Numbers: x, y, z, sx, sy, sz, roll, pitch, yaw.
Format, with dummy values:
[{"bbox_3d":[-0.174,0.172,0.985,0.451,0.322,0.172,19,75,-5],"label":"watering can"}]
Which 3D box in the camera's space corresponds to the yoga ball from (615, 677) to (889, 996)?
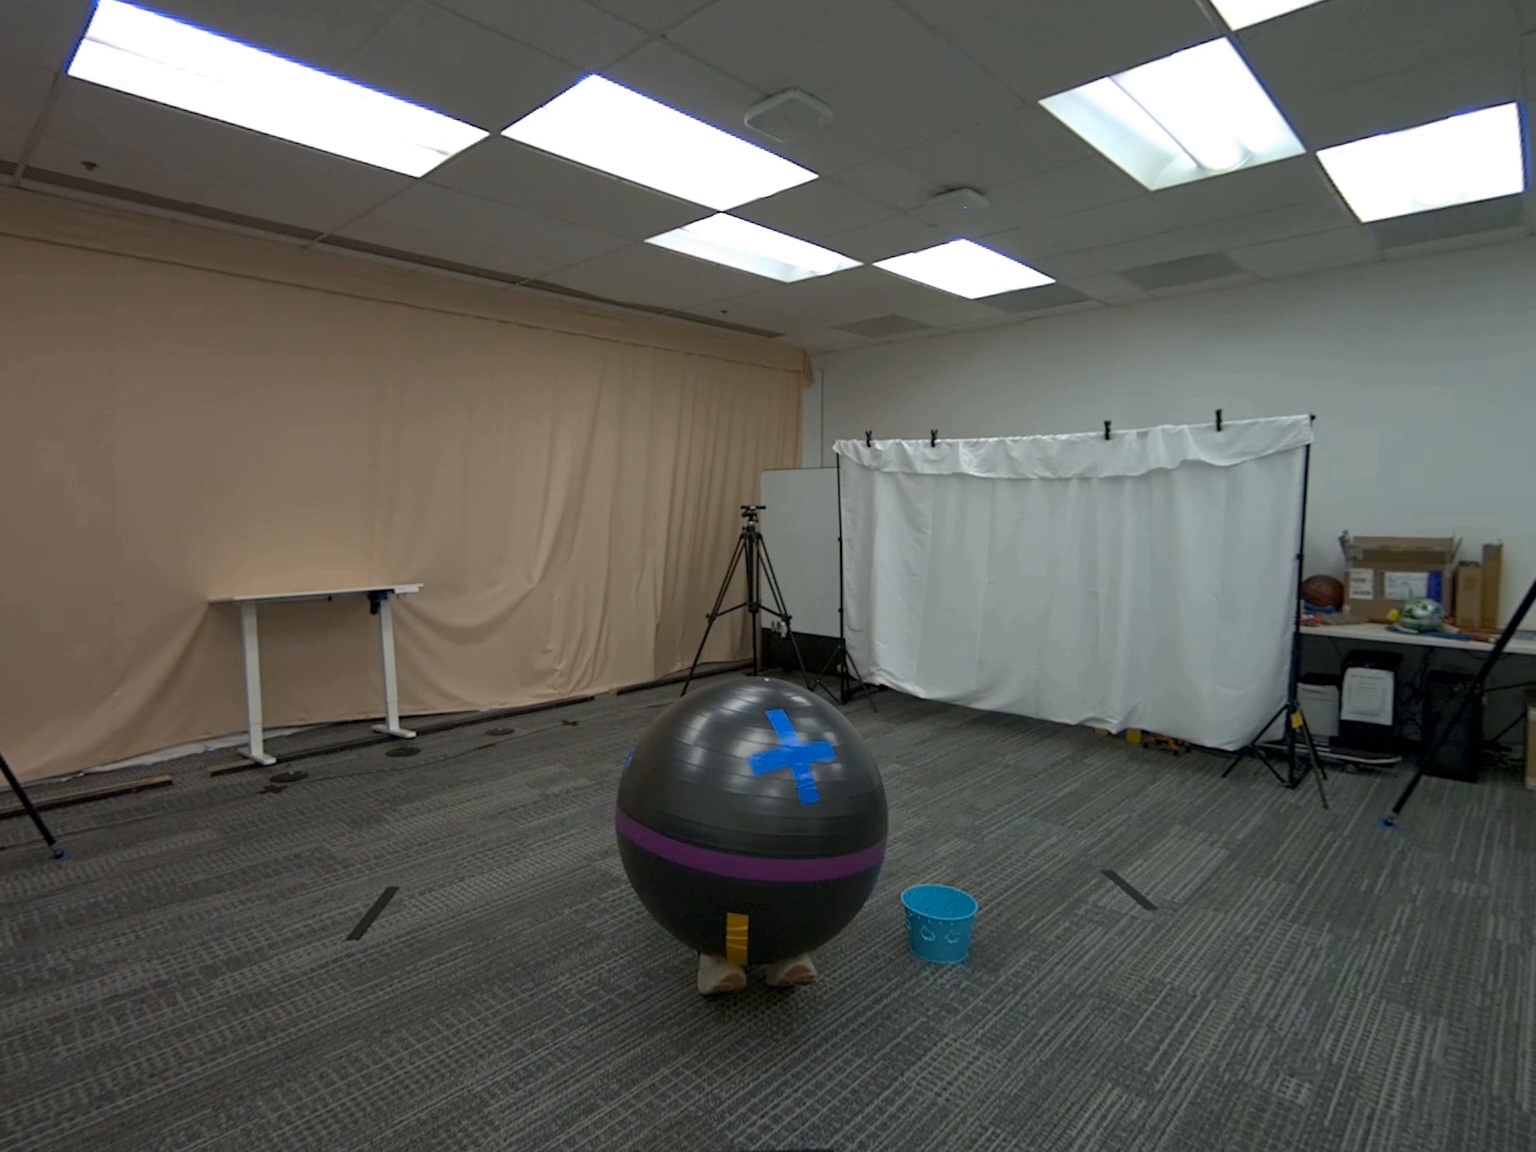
[{"bbox_3d":[-0.039,0.671,2.350,0.757,0.756,0.761,0,4,-2],"label":"yoga ball"}]
